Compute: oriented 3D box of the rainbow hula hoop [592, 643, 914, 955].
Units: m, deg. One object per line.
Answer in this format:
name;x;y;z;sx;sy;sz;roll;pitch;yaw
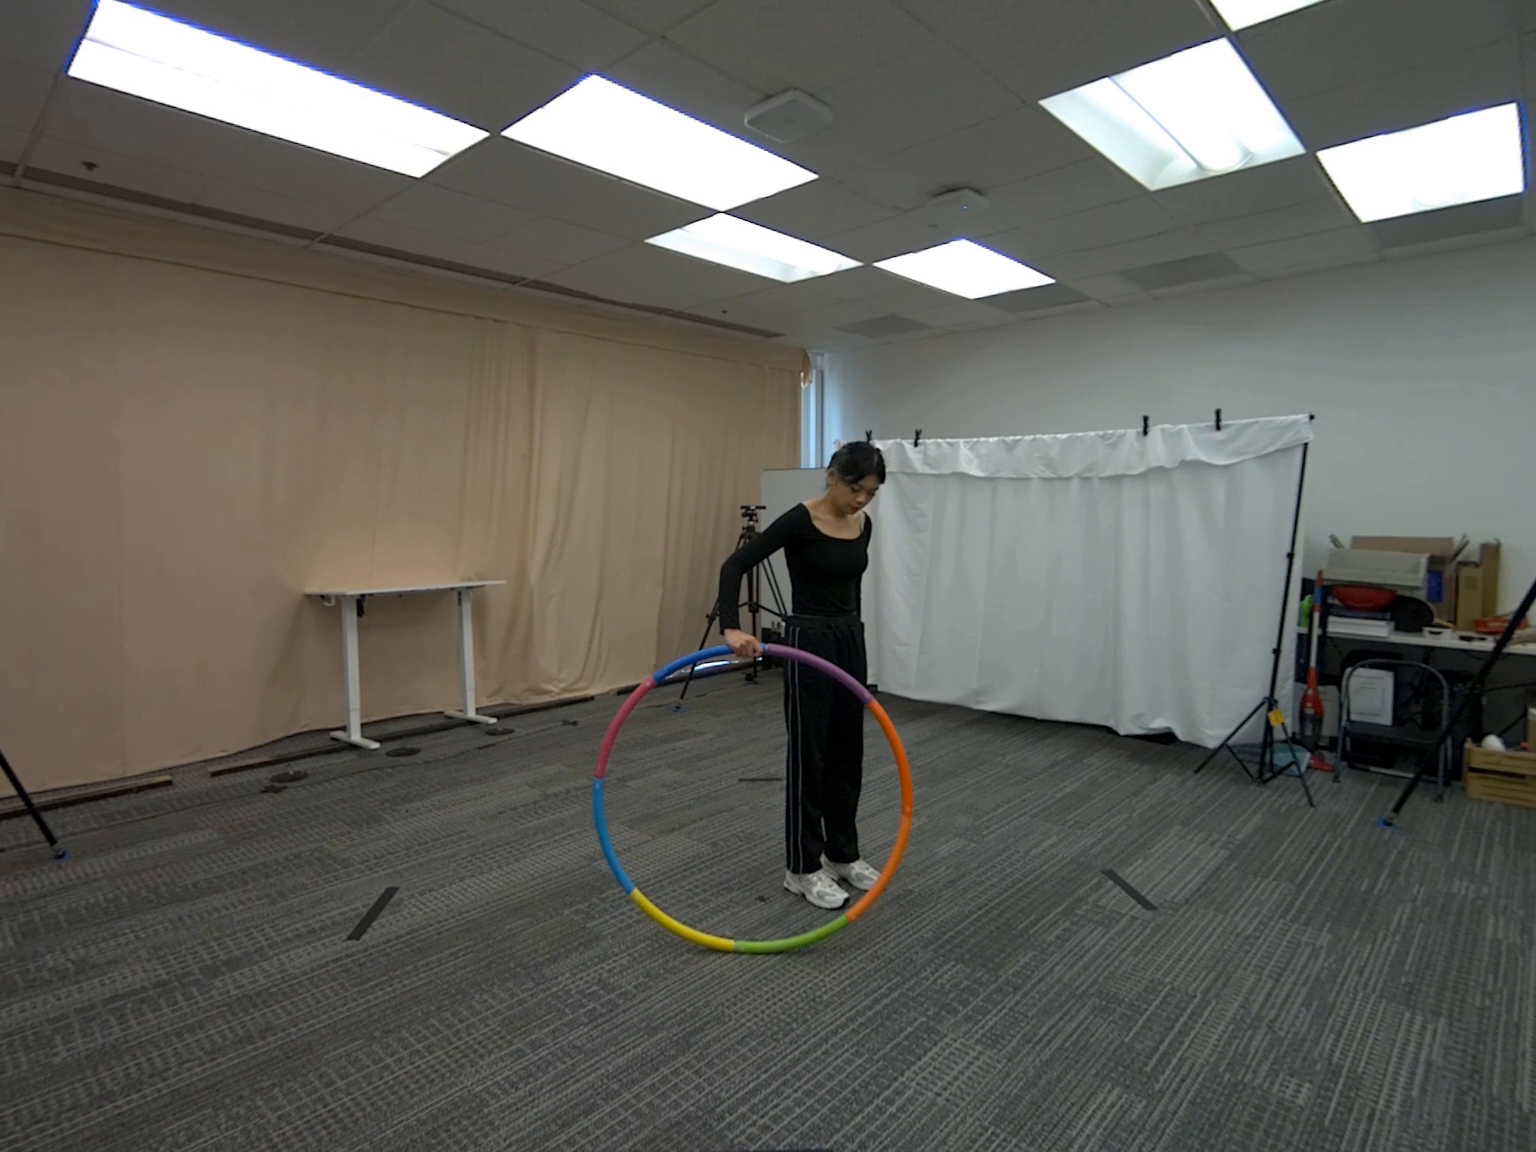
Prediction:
rainbow hula hoop;-0.056;0.693;2.652;0.981;0.980;0.035;0;-3;3
